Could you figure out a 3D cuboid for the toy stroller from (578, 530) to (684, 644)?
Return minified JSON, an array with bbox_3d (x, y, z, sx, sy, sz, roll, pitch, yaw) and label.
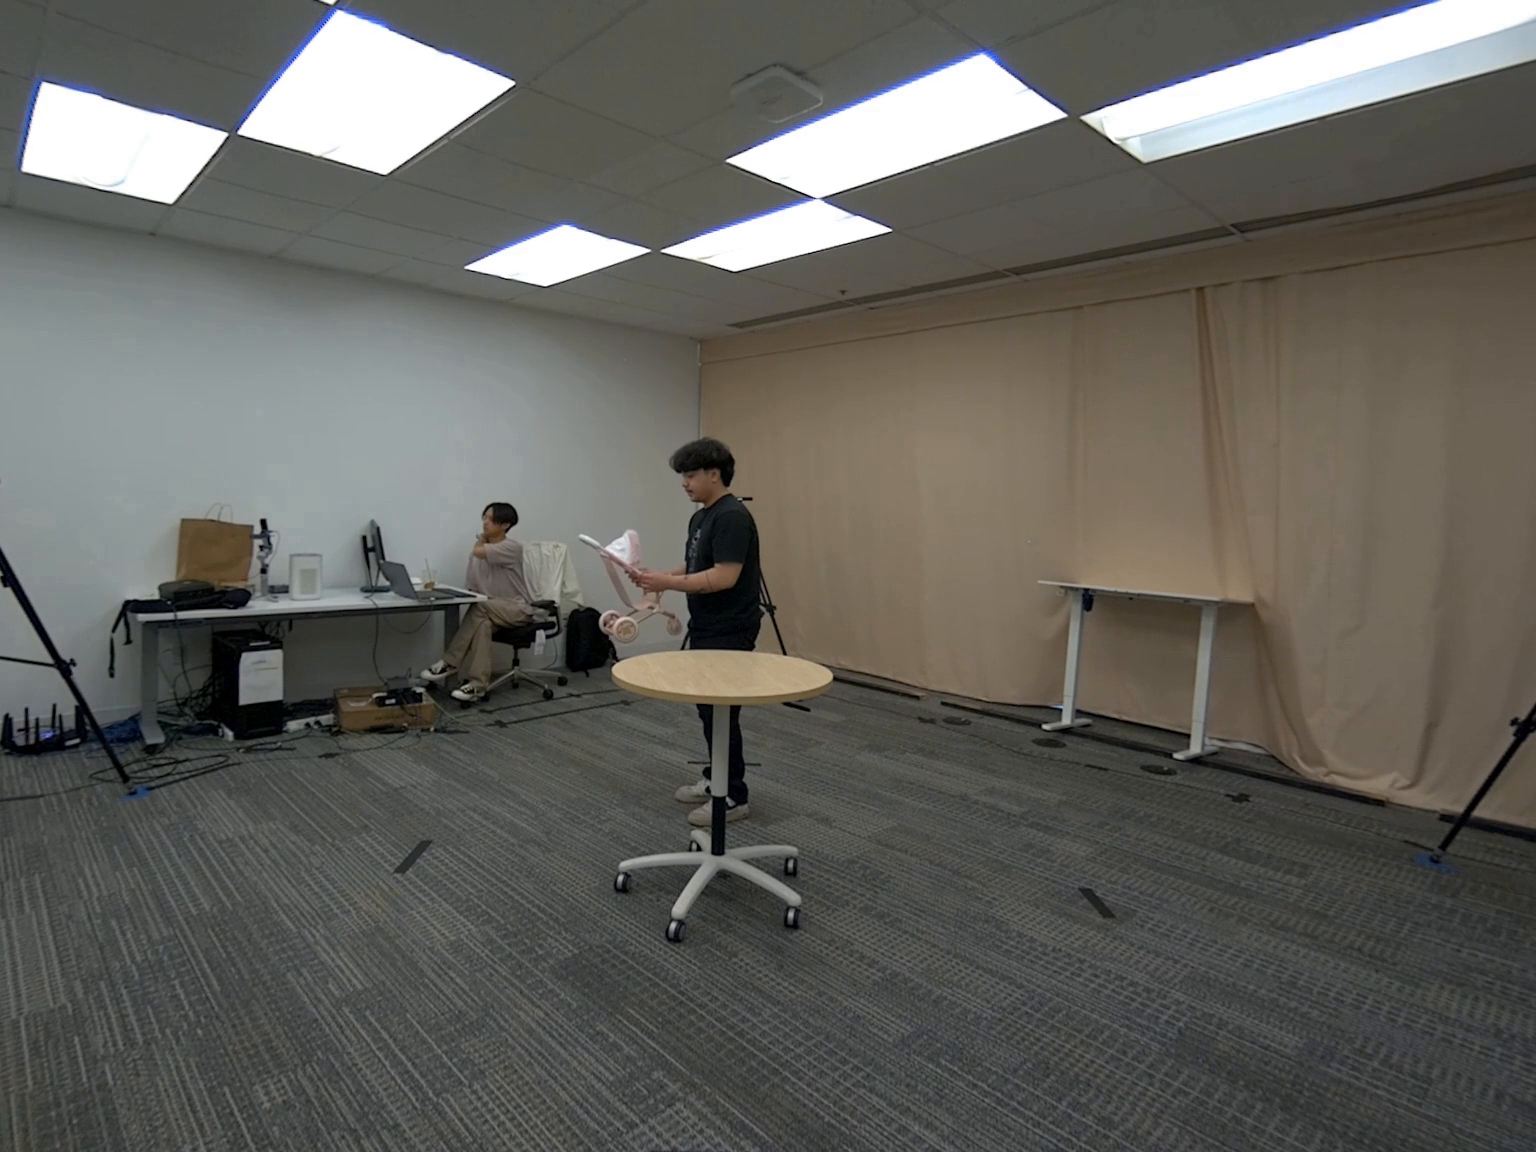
[{"bbox_3d":[-0.595,0.041,3.656,0.338,0.531,0.286,-15,8,-16],"label":"toy stroller"}]
